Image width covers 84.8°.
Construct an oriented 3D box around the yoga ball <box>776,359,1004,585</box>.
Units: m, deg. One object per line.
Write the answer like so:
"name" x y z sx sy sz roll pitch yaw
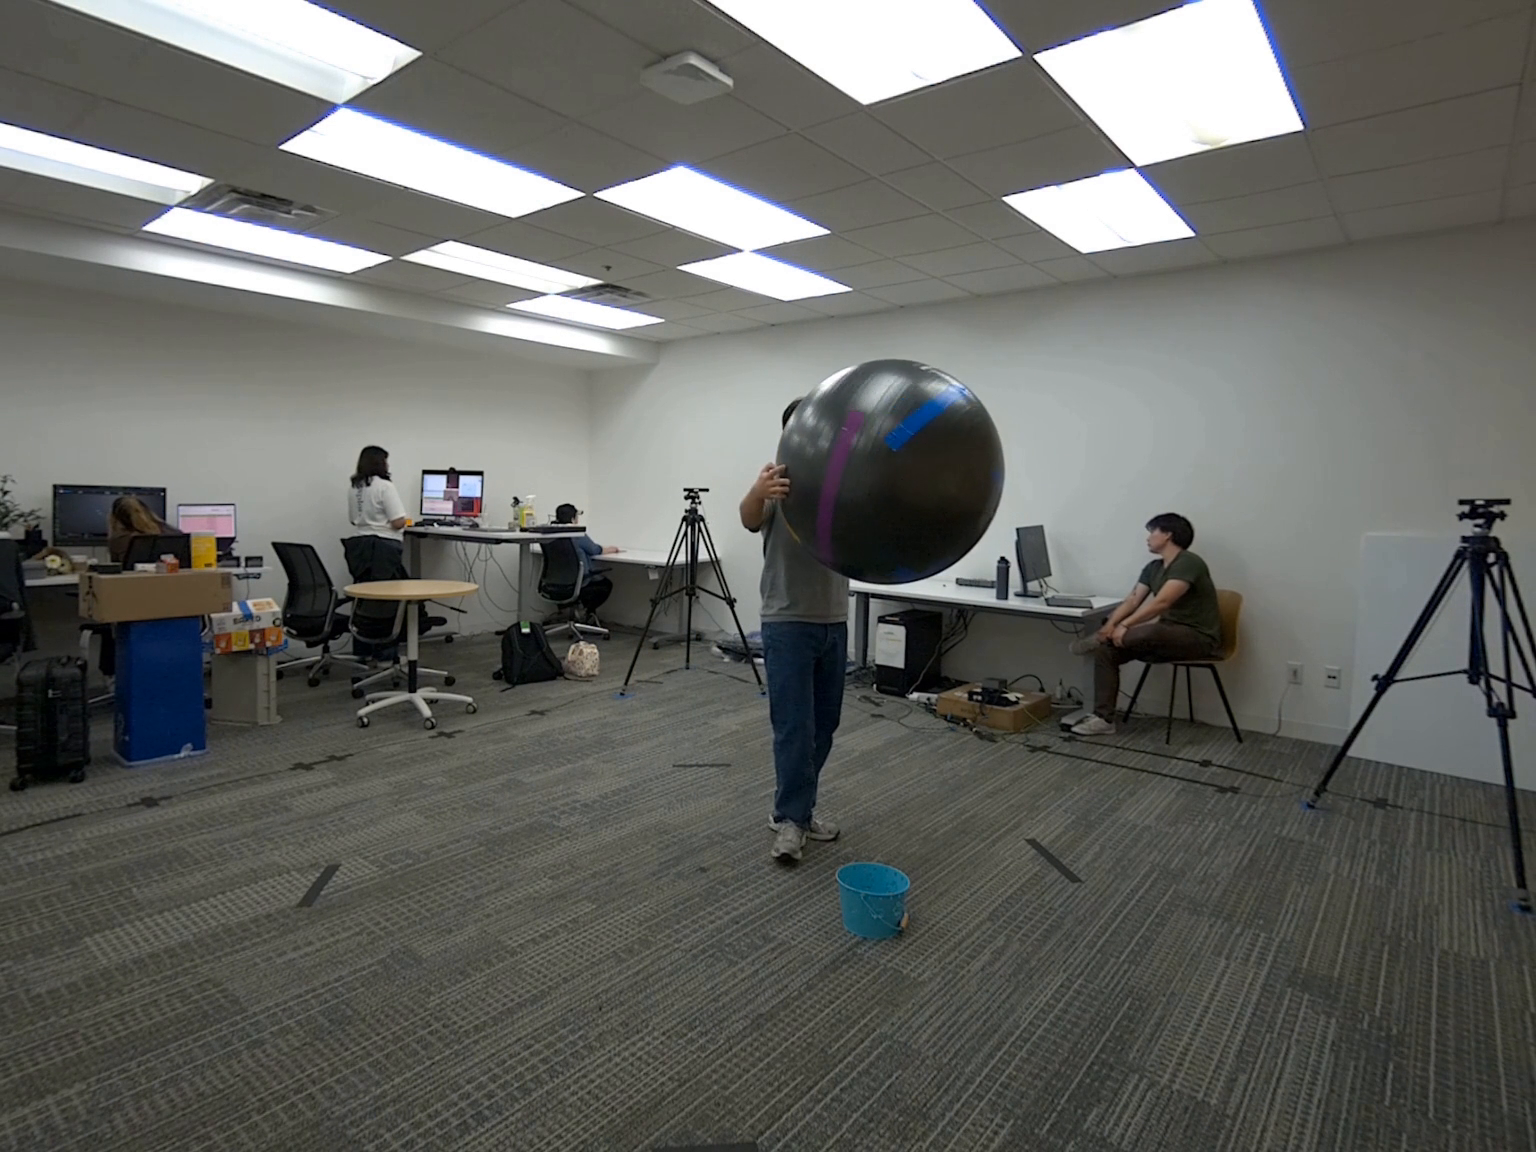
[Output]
"yoga ball" 0.395 -0.348 2.883 0.757 0.756 0.761 1 4 -2
